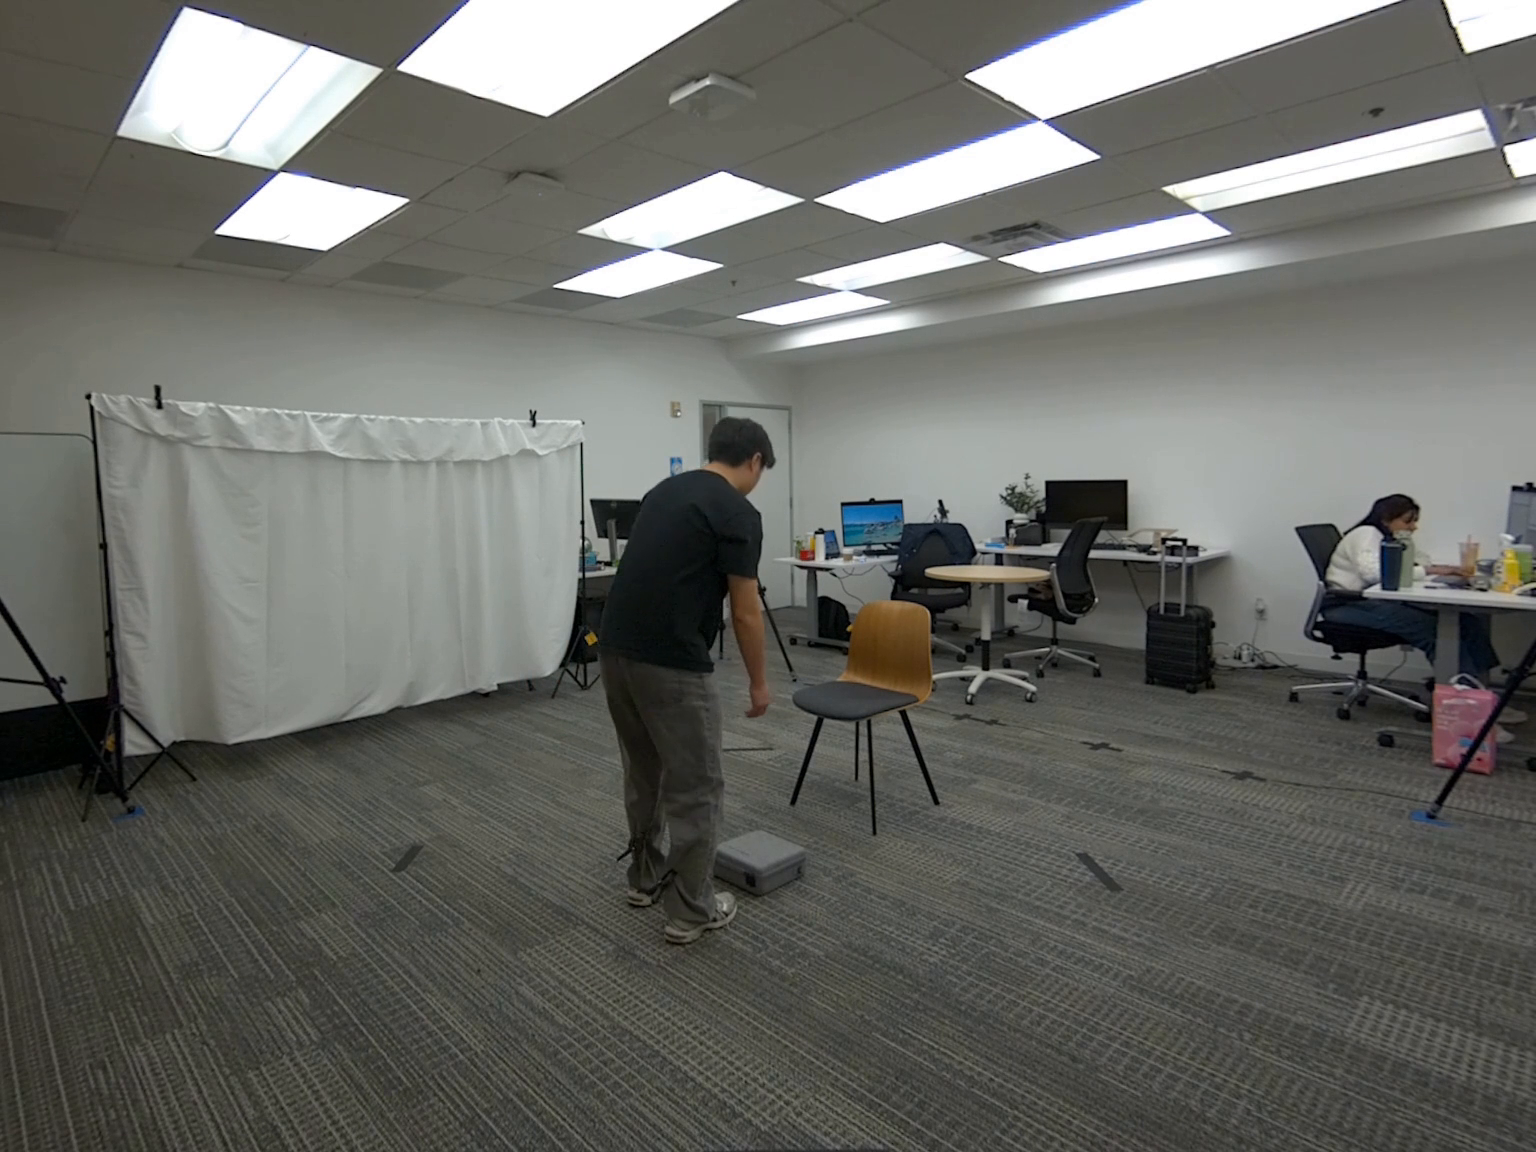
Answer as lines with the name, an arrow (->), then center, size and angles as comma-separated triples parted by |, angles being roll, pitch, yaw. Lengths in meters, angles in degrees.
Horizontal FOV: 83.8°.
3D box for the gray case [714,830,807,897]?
gray case -> -0.025, 1.001, 3.025 | 0.279, 0.103, 0.271 | -5, 7, -44
